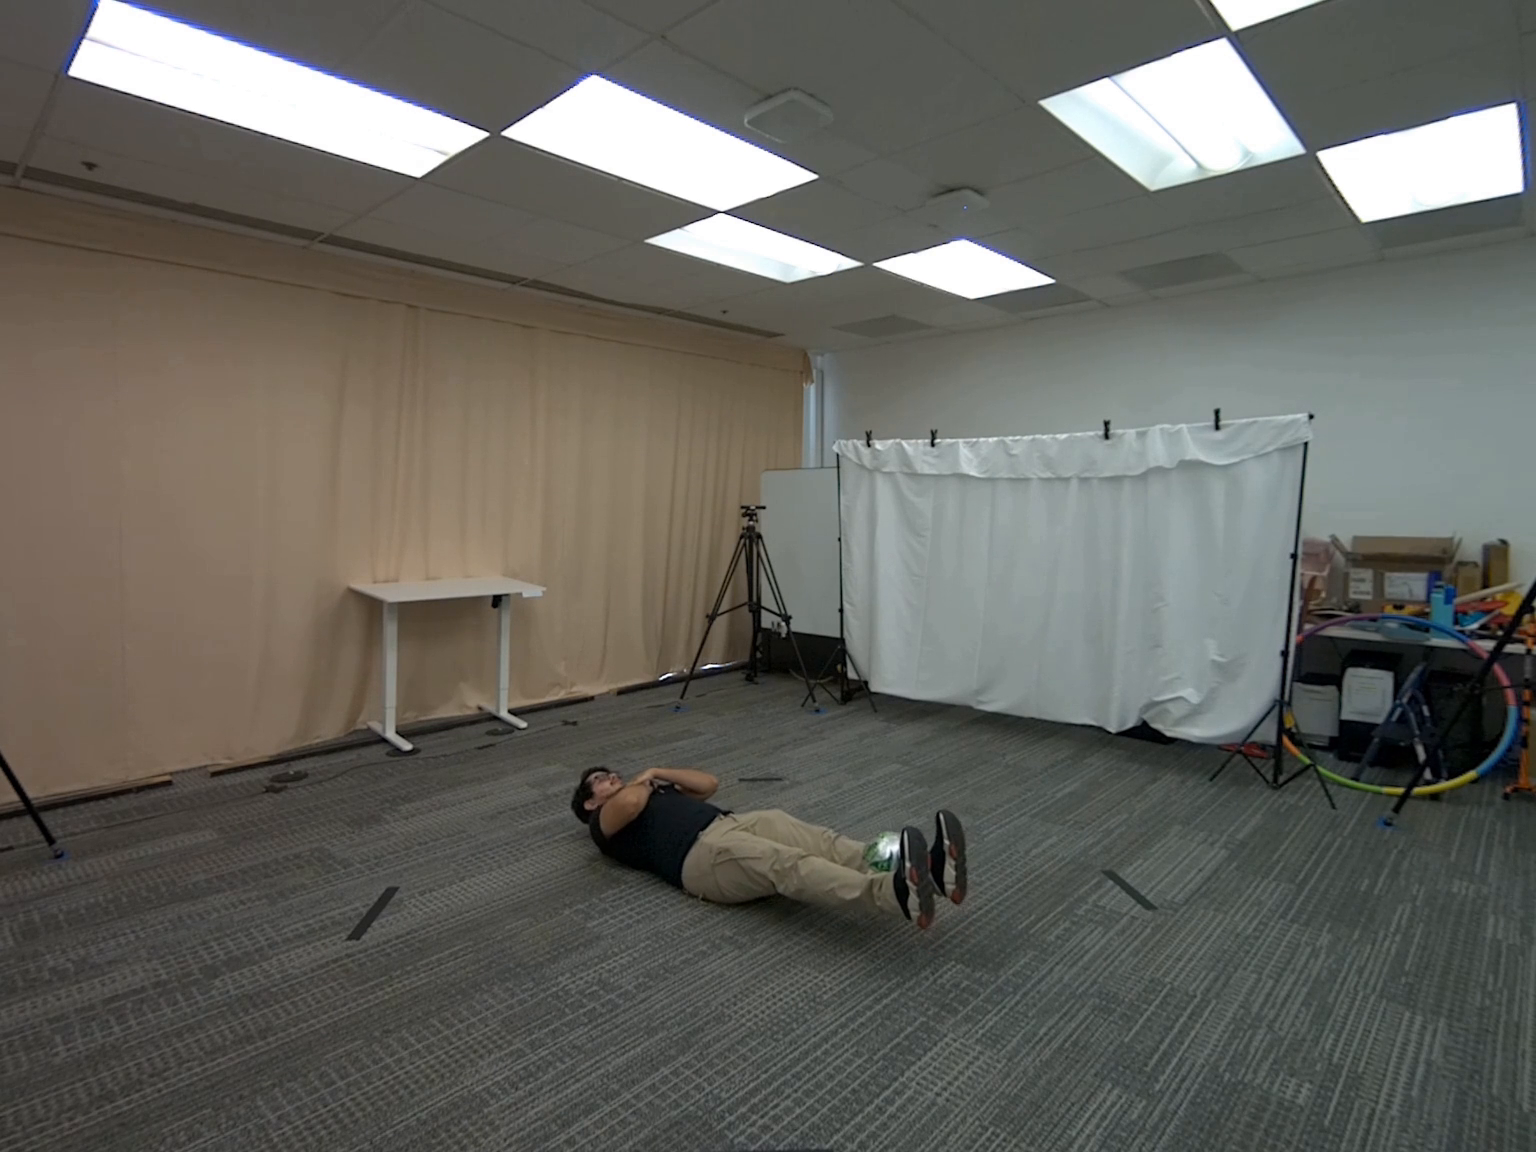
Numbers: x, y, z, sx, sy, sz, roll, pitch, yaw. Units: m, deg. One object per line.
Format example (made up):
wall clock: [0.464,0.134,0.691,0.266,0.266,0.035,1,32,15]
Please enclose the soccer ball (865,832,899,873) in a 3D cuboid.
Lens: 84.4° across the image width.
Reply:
soccer ball: [0.402,0.914,2.658,0.187,0.187,0.188,0,4,-2]
